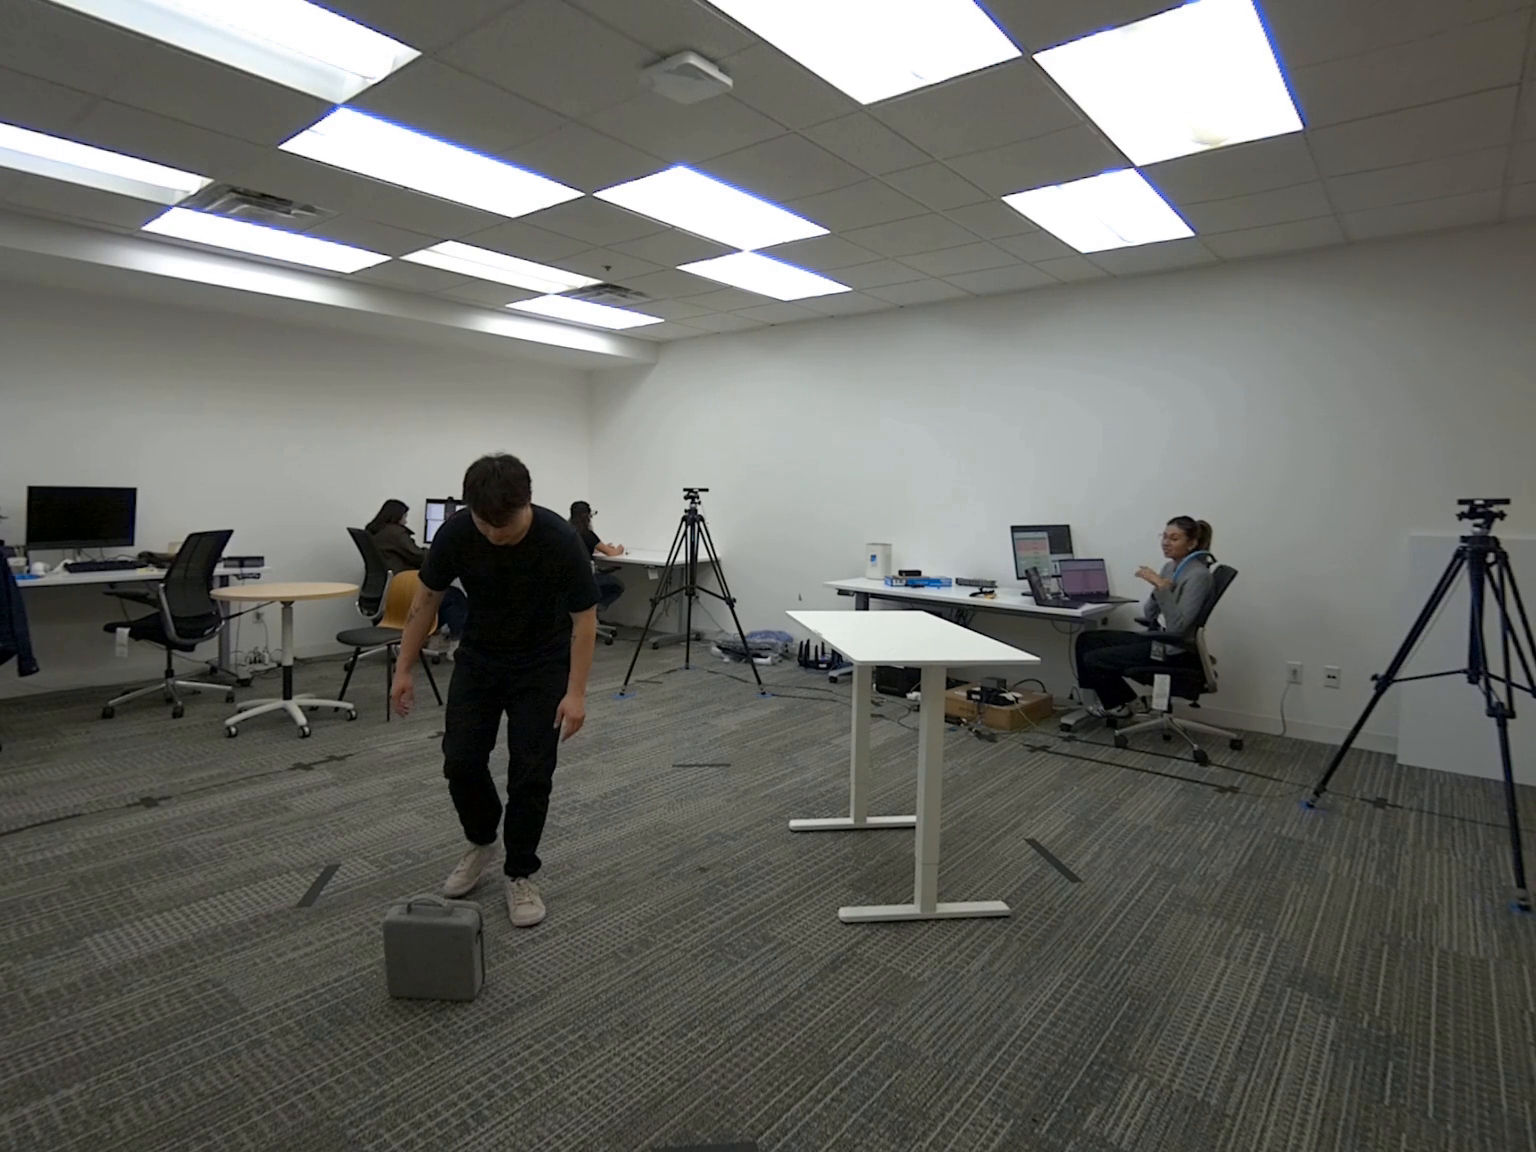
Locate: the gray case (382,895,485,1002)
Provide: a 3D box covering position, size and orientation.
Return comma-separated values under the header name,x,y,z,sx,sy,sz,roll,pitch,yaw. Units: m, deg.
name,x,y,z,sx,sy,sz,roll,pitch,yaw
gray case,-0.914,1.007,2.305,0.258,0.258,0.105,1,11,3
